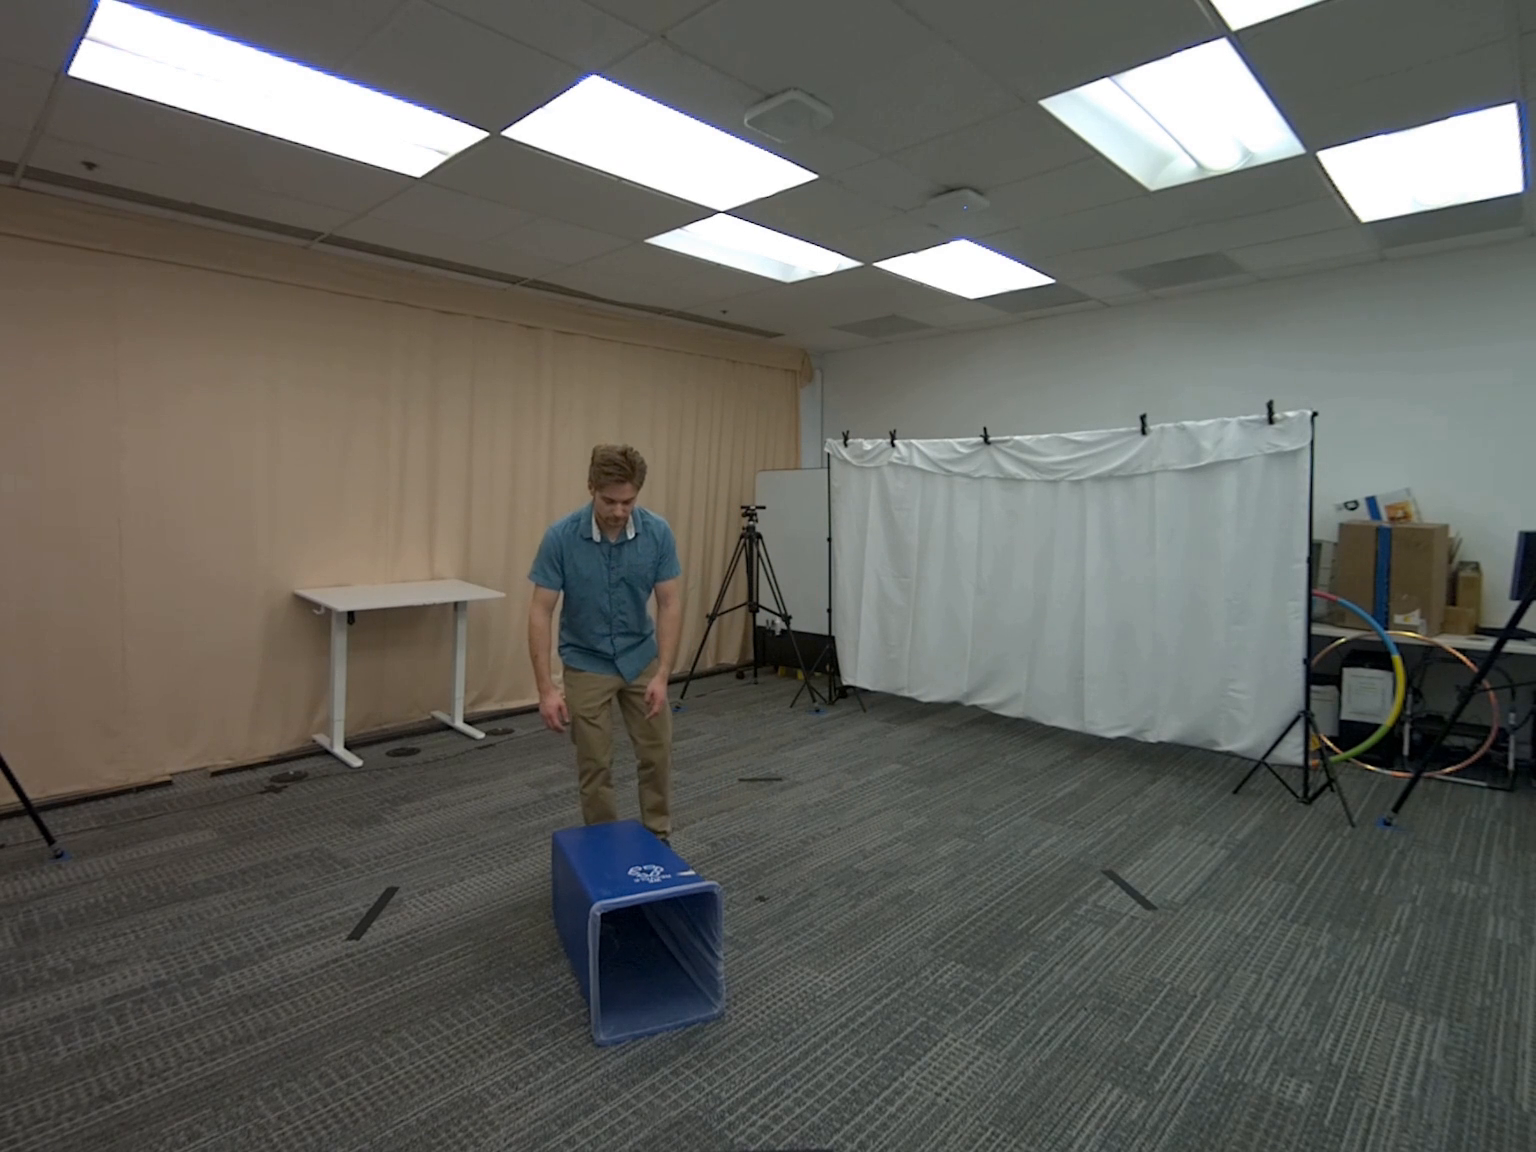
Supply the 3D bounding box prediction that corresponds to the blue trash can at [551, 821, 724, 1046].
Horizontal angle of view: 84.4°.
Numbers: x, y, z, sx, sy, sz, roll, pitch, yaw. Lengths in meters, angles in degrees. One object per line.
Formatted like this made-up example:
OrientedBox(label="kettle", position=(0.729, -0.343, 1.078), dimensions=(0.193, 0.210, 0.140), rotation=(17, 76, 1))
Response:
OrientedBox(label="blue trash can", position=(-0.432, 1.017, 2.547), dimensions=(0.365, 0.378, 0.731), rotation=(-2, 2, -25))
